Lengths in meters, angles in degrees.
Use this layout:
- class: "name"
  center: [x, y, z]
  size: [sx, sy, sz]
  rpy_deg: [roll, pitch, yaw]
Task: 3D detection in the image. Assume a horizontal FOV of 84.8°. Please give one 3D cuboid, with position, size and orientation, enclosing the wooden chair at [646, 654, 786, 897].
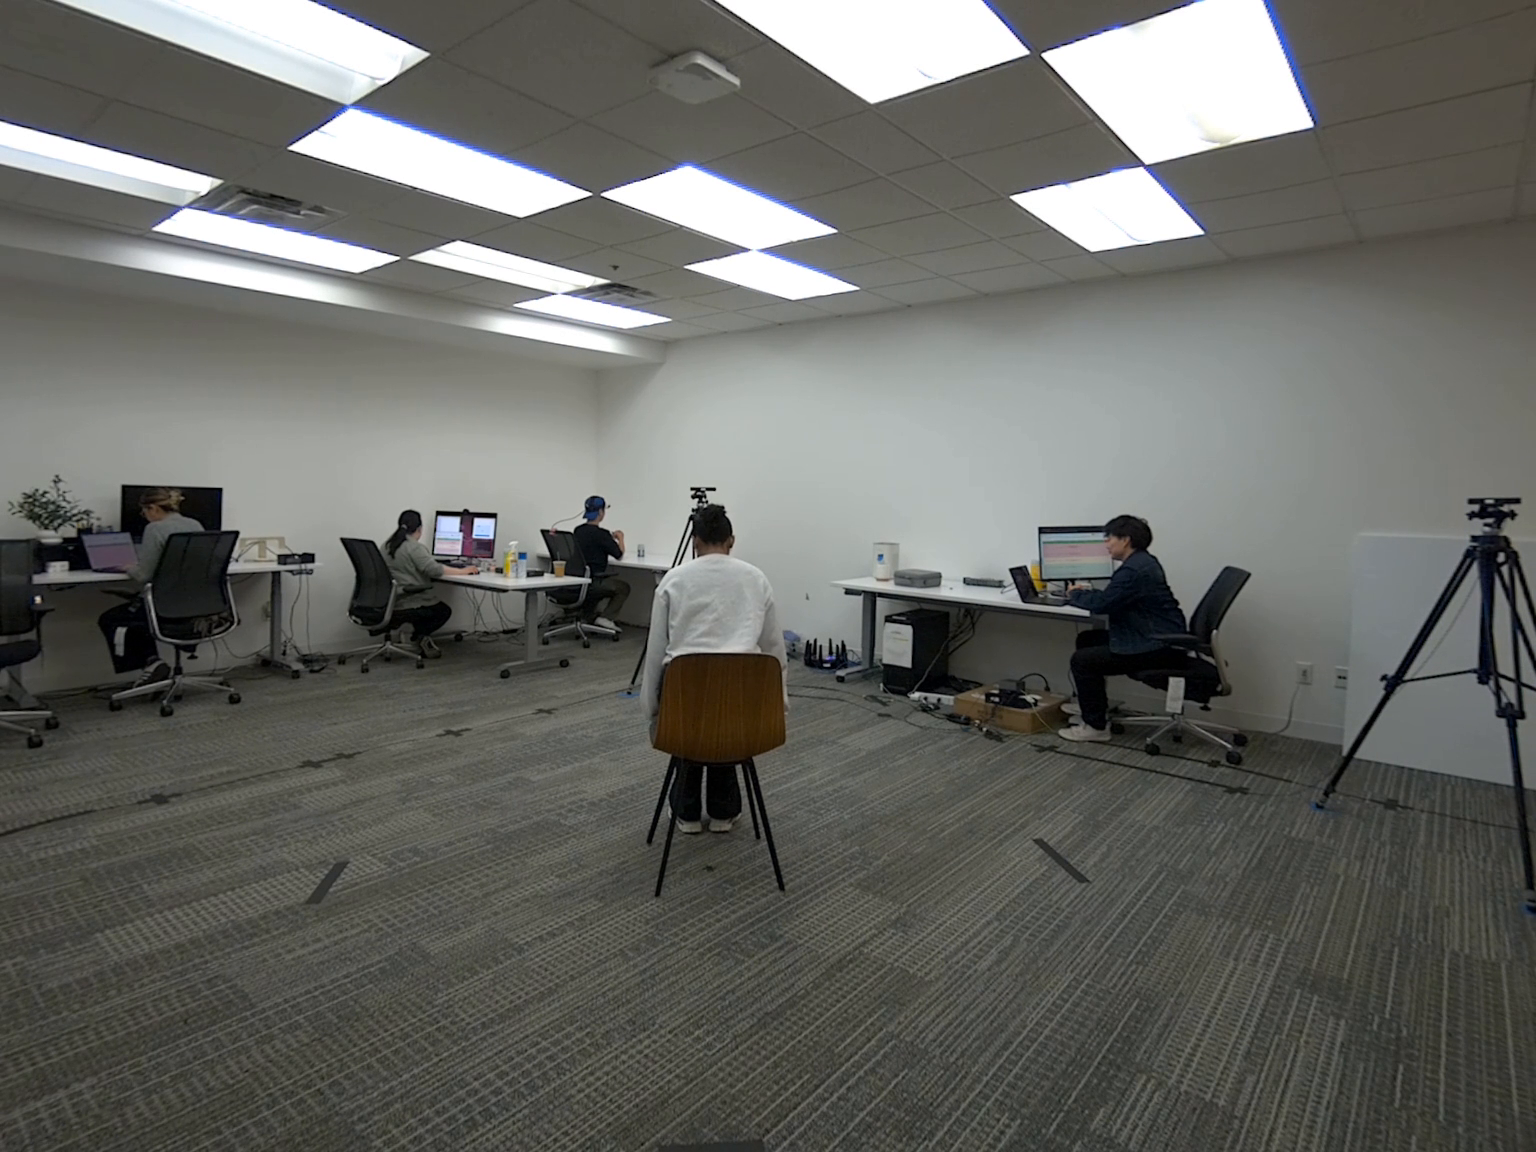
- class: "wooden chair"
  center: [-0.211, 0.635, 3.112]
  size: [0.473, 0.872, 0.532]
  rpy_deg: [0, 7, -11]
